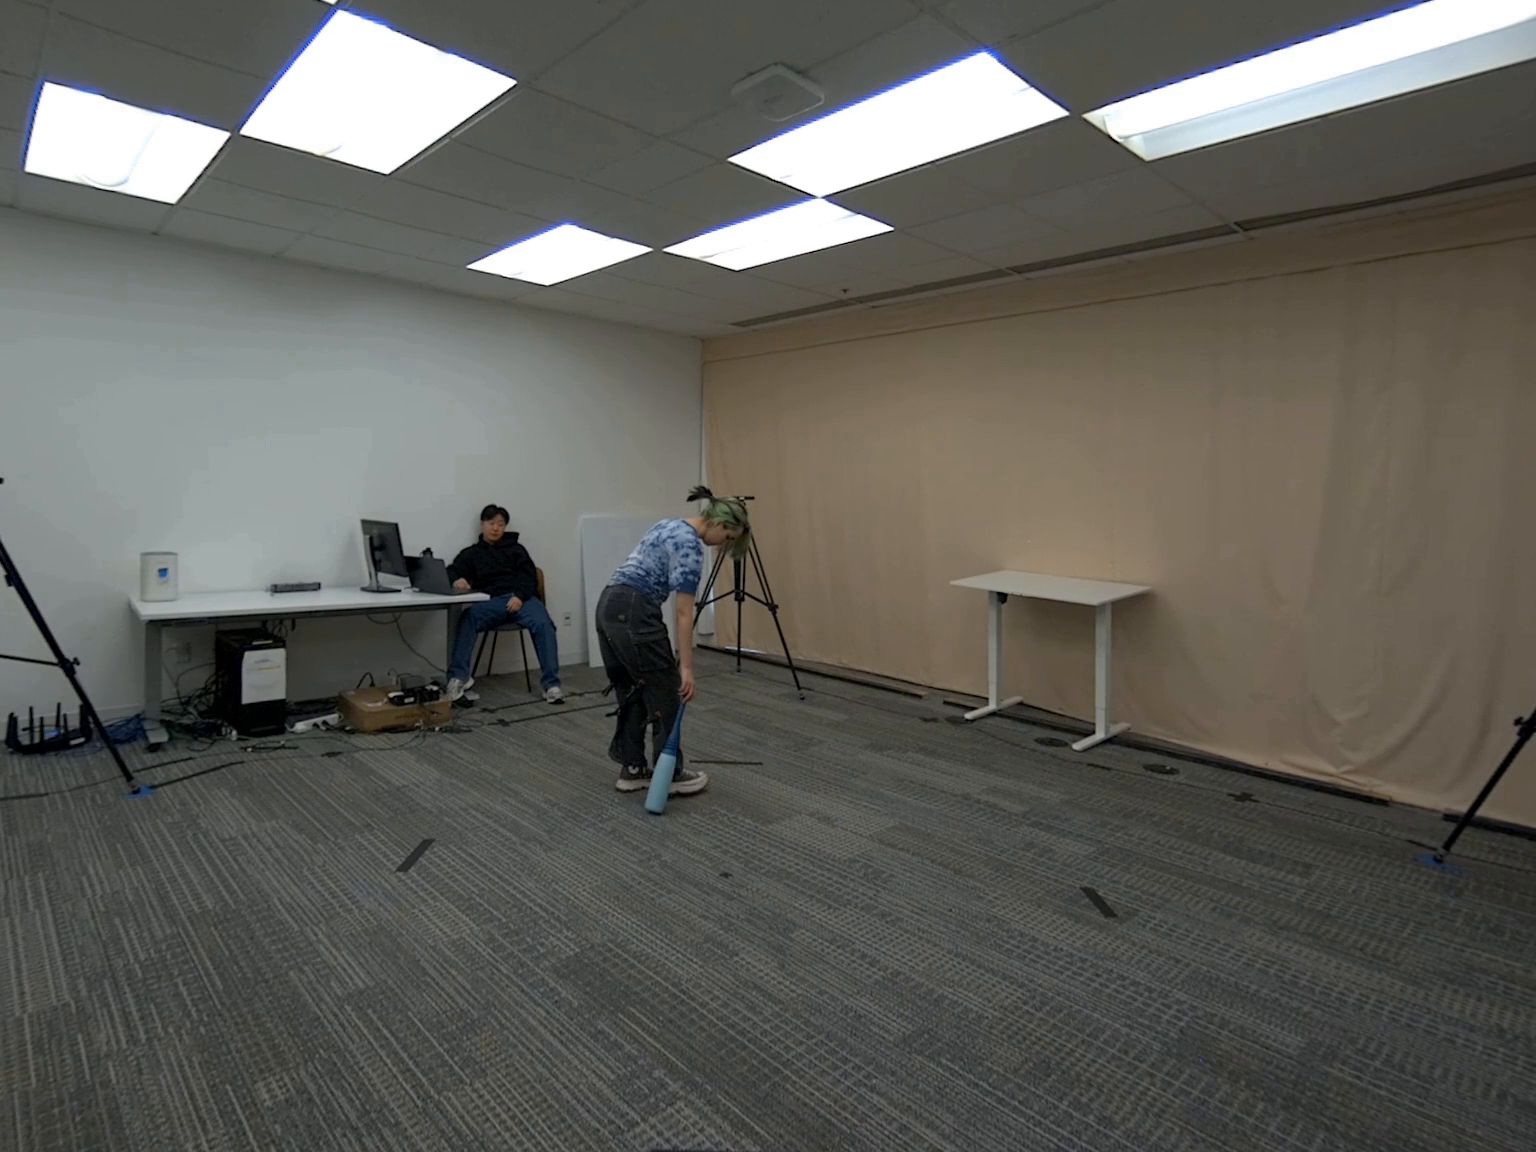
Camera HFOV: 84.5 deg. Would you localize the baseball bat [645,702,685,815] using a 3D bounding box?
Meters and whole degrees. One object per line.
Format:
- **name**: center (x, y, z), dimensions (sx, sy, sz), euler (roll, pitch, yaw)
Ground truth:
- **baseball bat**: center (-0.450, 0.783, 3.761), dimensions (0.089, 0.547, 0.088), euler (13, -14, 2)
